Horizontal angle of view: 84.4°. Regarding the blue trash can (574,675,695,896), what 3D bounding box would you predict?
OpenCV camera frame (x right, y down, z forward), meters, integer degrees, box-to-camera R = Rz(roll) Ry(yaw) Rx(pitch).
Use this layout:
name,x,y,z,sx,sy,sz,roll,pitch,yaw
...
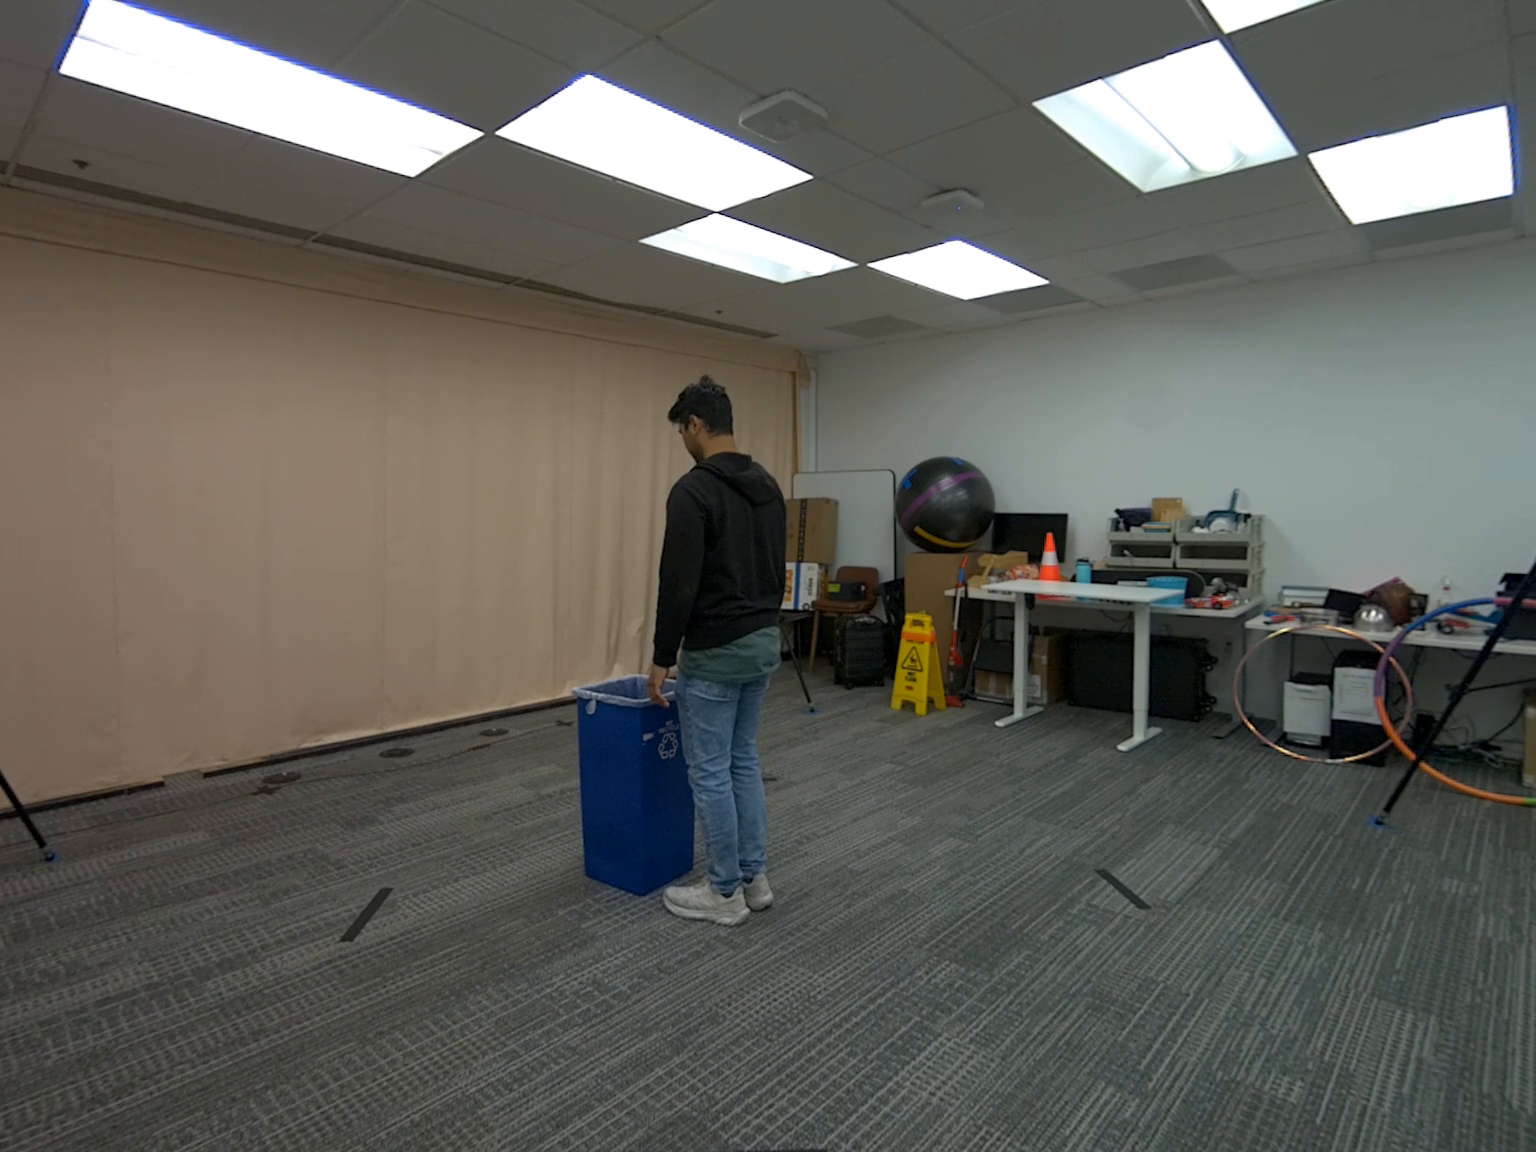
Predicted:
name,x,y,z,sx,sy,sz,roll,pitch,yaw
blue trash can,-0.489,0.772,3.203,0.390,0.712,0.363,2,4,36
